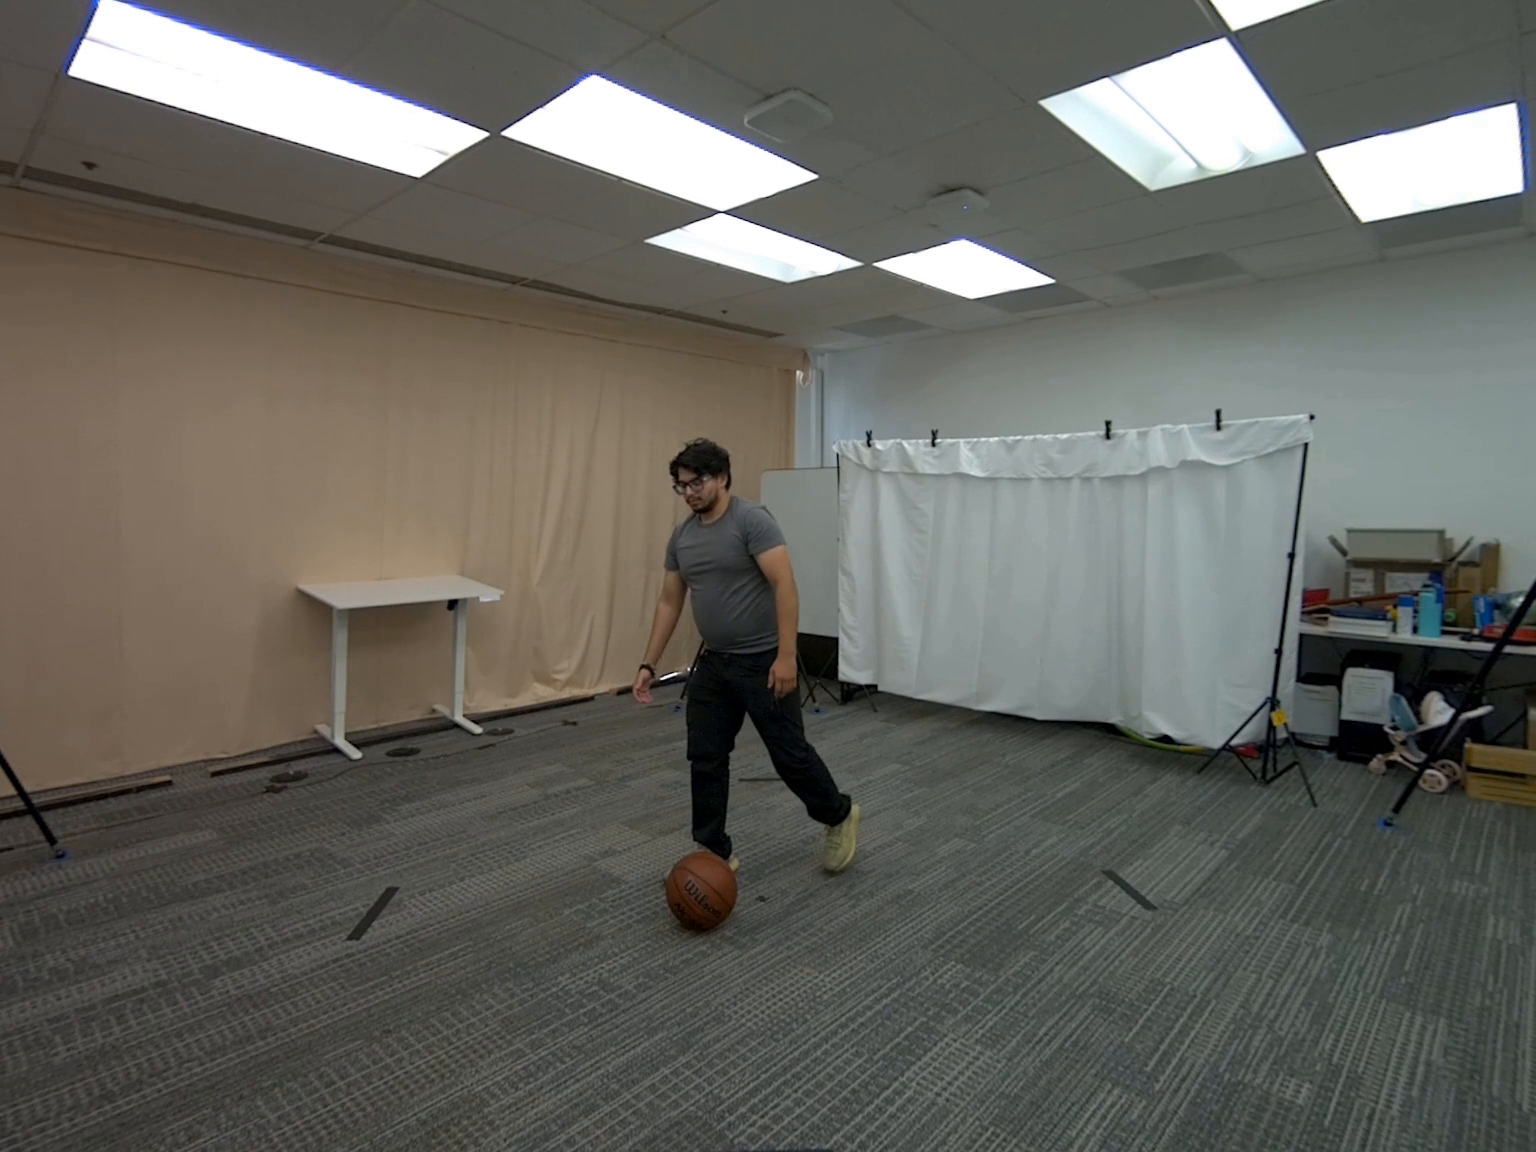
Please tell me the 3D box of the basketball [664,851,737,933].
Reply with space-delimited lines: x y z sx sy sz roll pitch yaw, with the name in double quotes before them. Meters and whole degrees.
"basketball" -0.218 1.035 2.795 0.236 0.235 0.237 0 4 -2
